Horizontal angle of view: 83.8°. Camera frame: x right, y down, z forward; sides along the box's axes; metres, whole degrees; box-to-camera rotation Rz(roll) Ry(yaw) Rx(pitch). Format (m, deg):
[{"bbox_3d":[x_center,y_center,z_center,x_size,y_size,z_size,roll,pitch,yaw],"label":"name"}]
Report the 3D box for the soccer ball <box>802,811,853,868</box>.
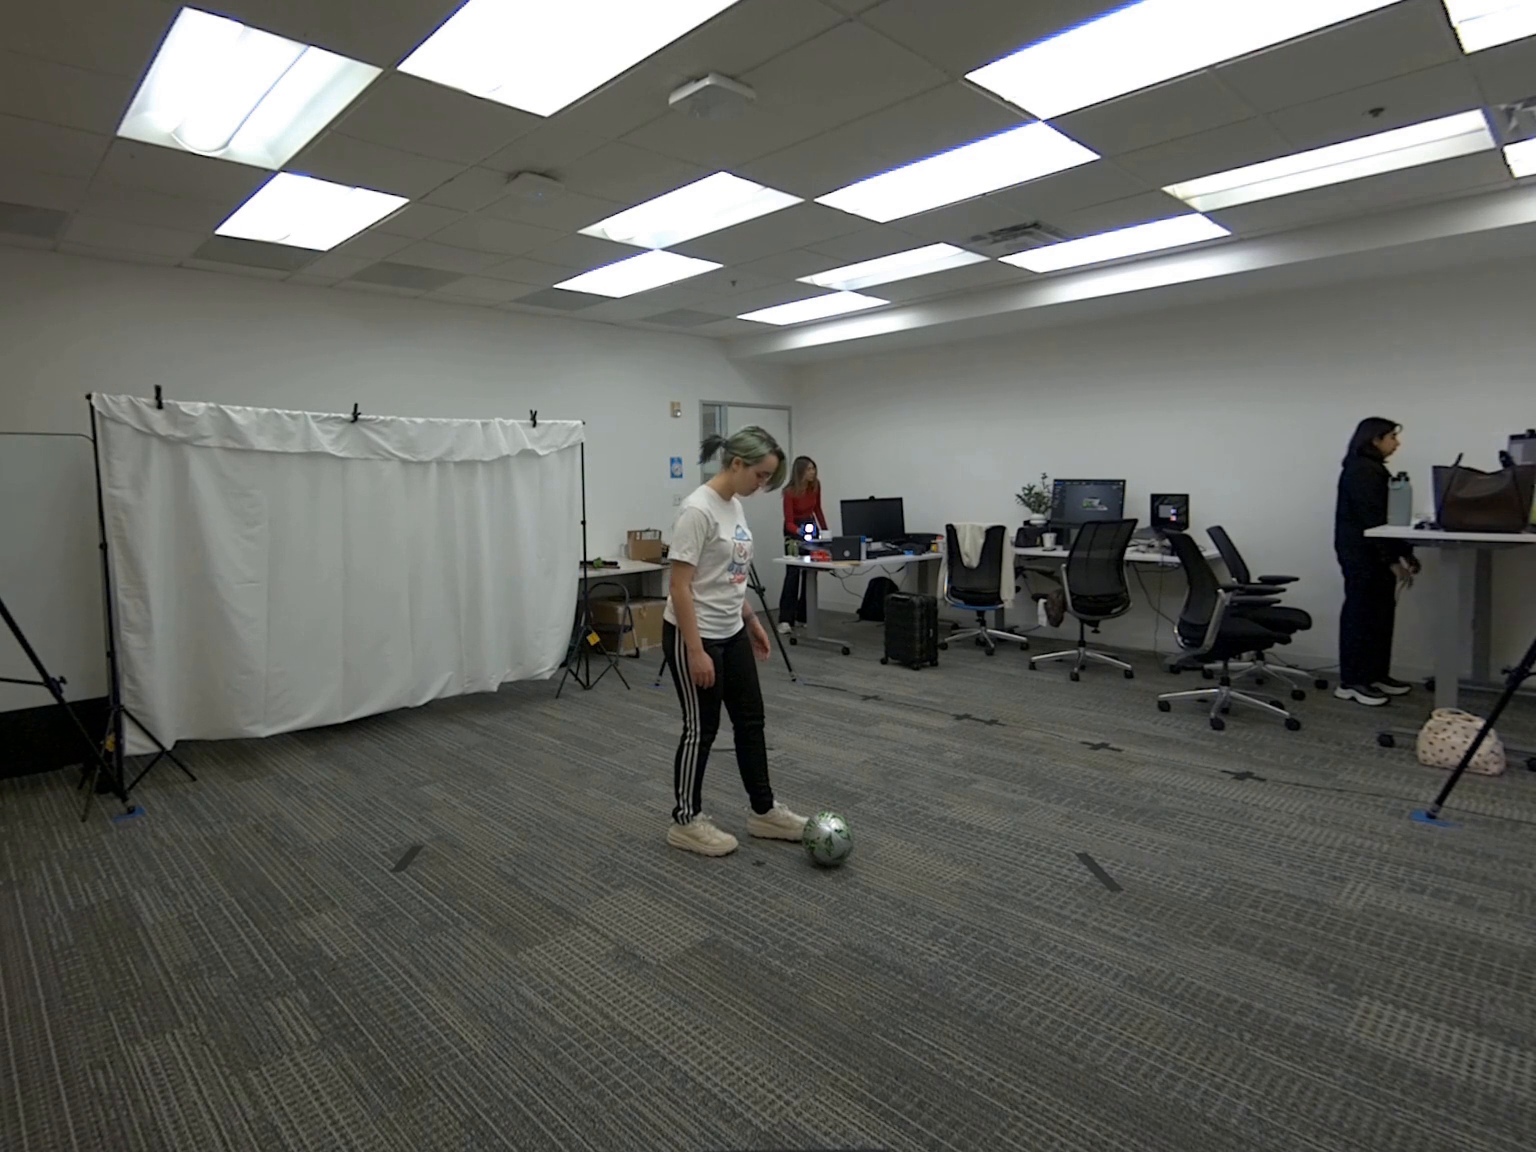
[{"bbox_3d":[0.220,0.950,3.095,0.187,0.187,0.188,-1,5,-2],"label":"soccer ball"}]
